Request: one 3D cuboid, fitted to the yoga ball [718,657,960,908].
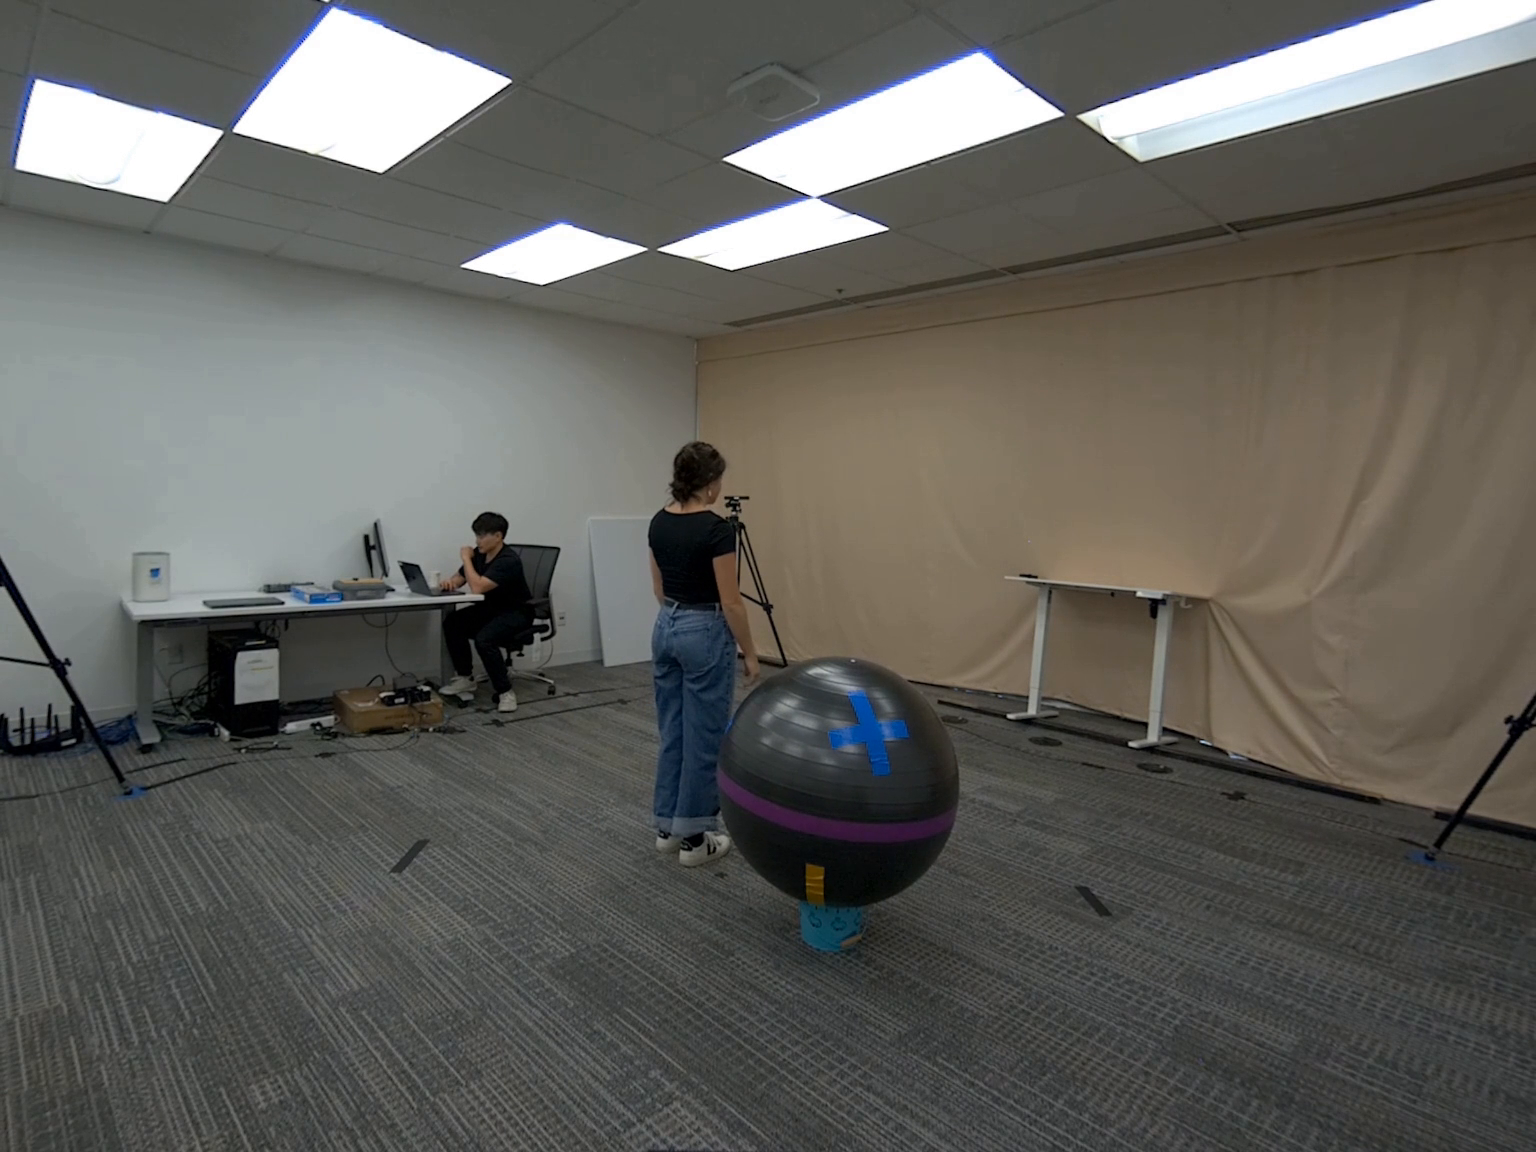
[{"bbox_3d":[0.216,0.642,2.656,0.757,0.756,0.761,1,4,-1],"label":"yoga ball"}]
